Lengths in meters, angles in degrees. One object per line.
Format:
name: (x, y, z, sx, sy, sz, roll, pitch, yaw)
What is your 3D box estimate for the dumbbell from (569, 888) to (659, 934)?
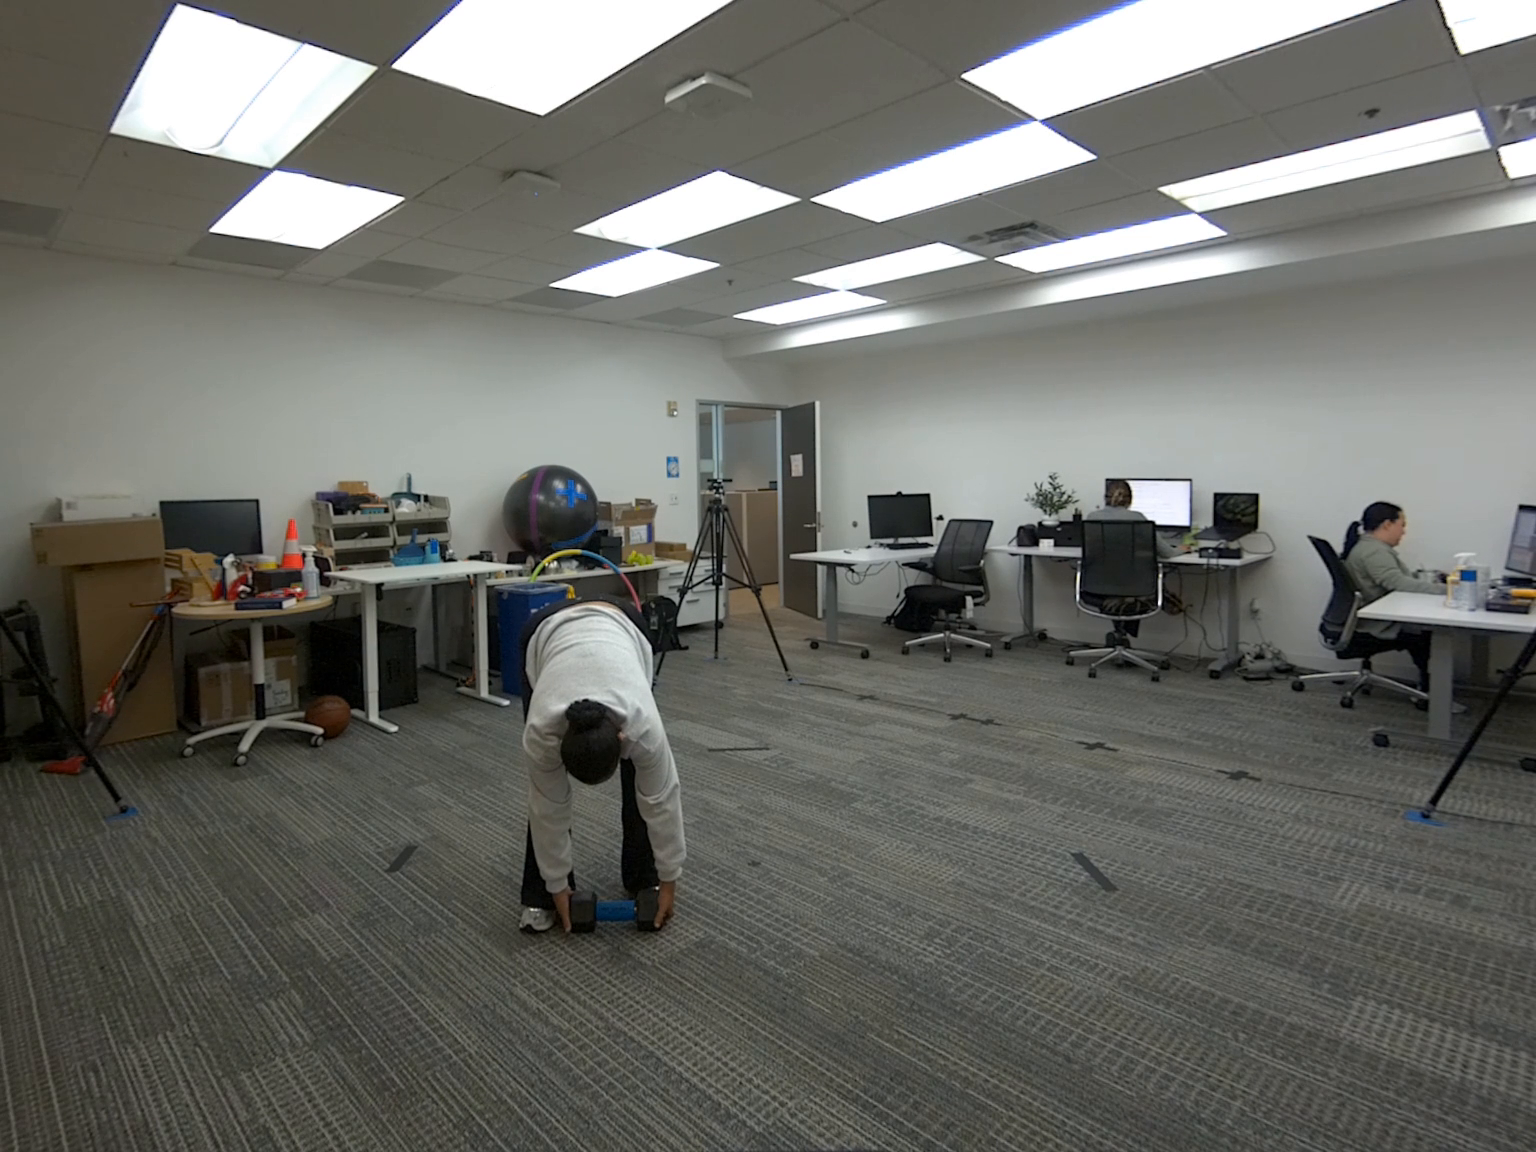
dumbbell: (-0.478, 1.054, 2.683, 0.293, 0.126, 0.107, 0, -25, -3)
